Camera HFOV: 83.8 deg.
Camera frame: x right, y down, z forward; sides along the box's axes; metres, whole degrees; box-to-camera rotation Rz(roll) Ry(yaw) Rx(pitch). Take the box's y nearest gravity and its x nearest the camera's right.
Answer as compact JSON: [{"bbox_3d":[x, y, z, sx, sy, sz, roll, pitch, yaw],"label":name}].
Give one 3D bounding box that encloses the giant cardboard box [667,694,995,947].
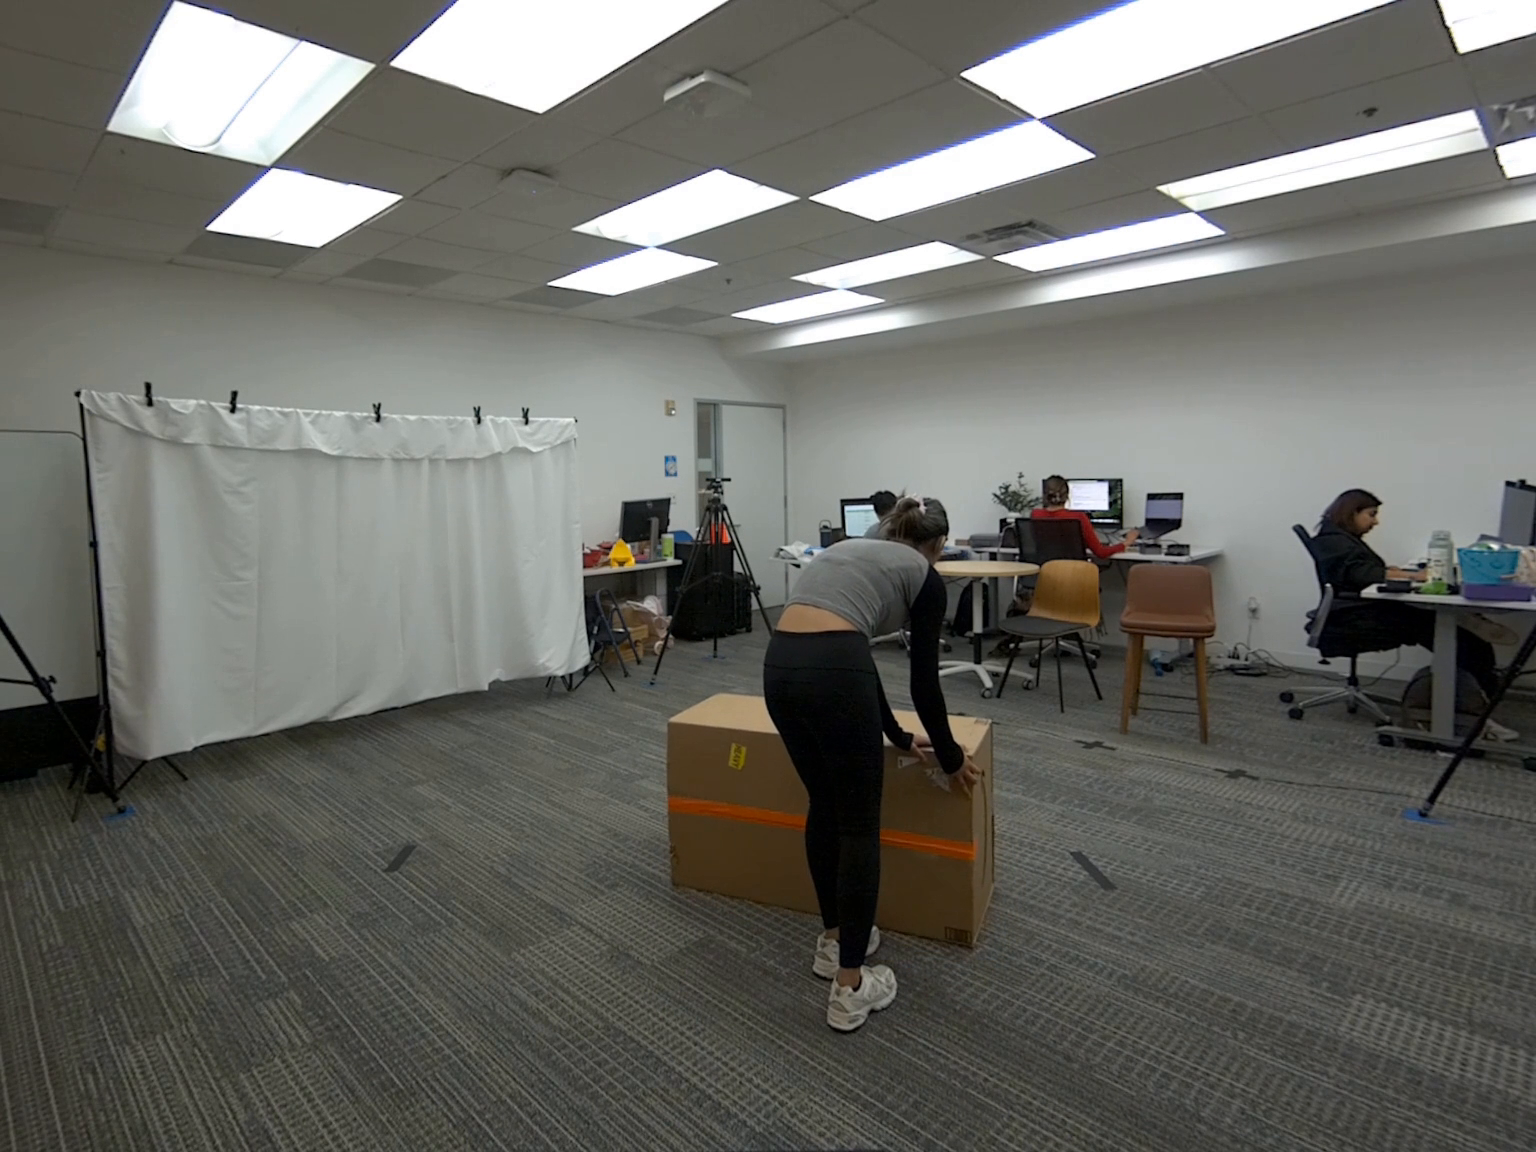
[{"bbox_3d":[0.204,0.772,2.909,1.050,0.581,0.439,1,6,24],"label":"giant cardboard box"}]
